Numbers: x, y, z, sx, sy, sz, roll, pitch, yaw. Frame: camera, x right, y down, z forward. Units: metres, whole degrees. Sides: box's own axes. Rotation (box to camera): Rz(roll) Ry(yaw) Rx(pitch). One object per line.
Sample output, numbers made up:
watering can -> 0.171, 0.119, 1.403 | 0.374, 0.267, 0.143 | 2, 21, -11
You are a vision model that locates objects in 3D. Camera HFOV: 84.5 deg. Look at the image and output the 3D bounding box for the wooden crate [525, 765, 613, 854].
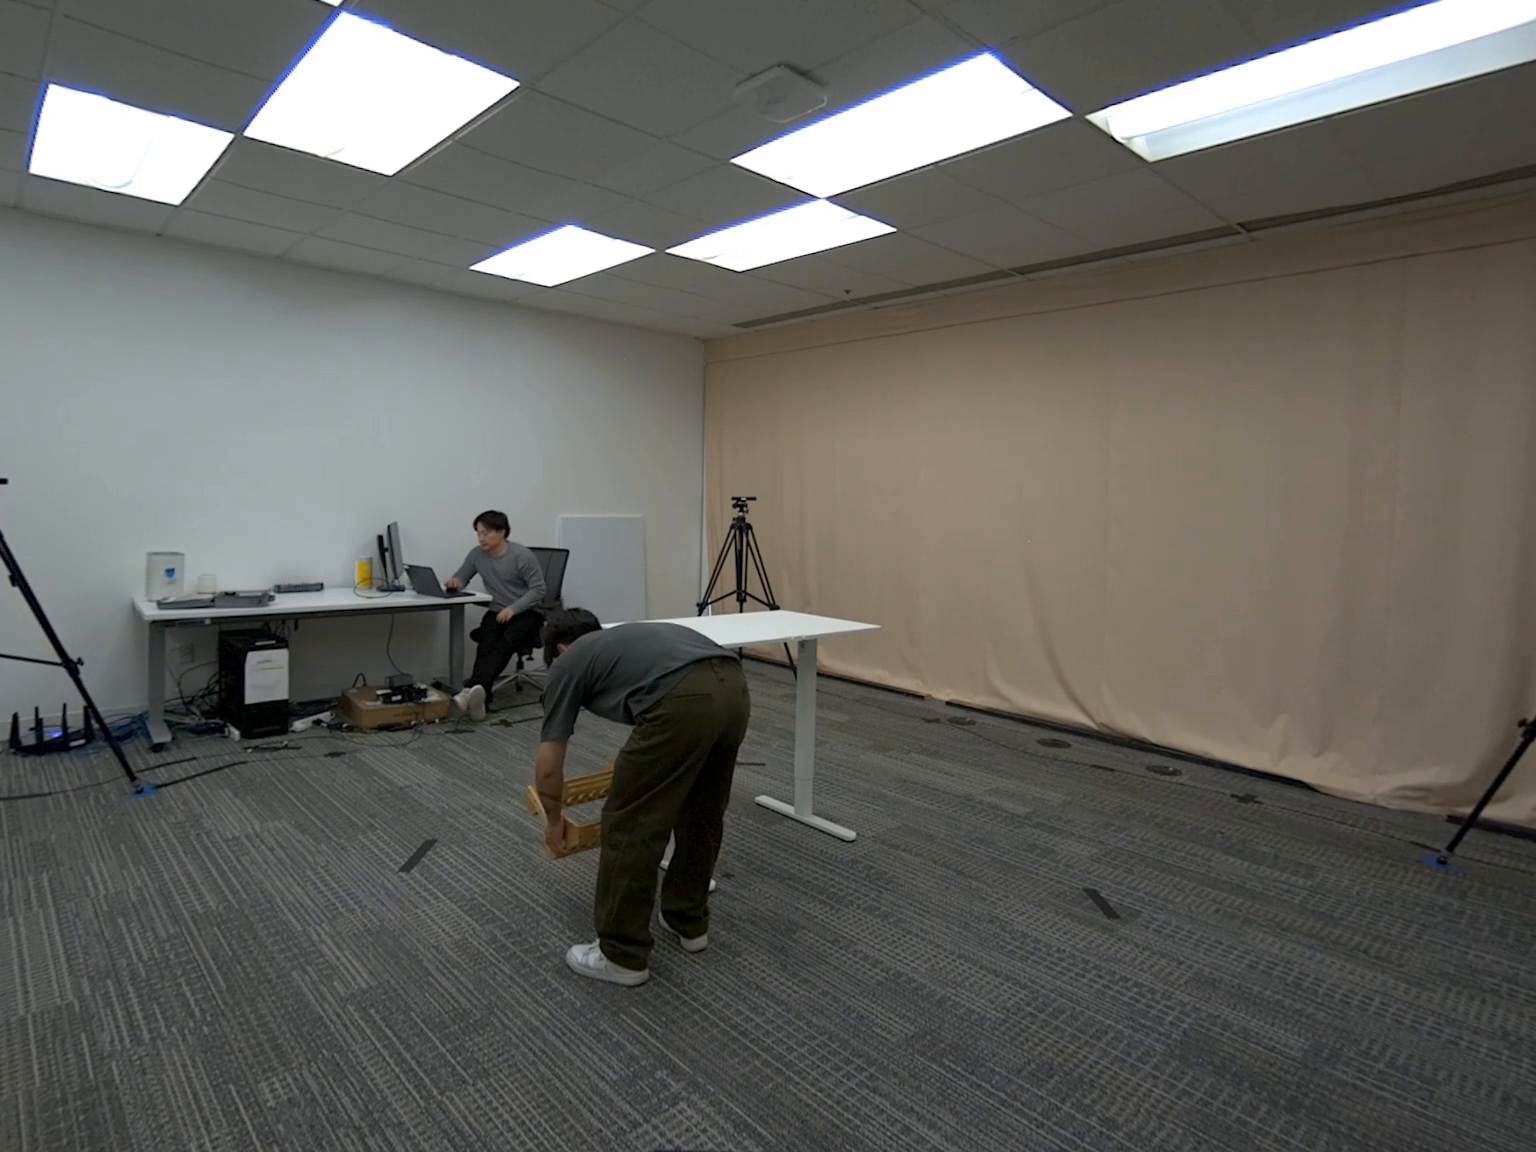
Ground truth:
wooden crate -> -0.608, 0.777, 2.859 | 0.317, 0.278, 0.303 | -1, -28, -44
